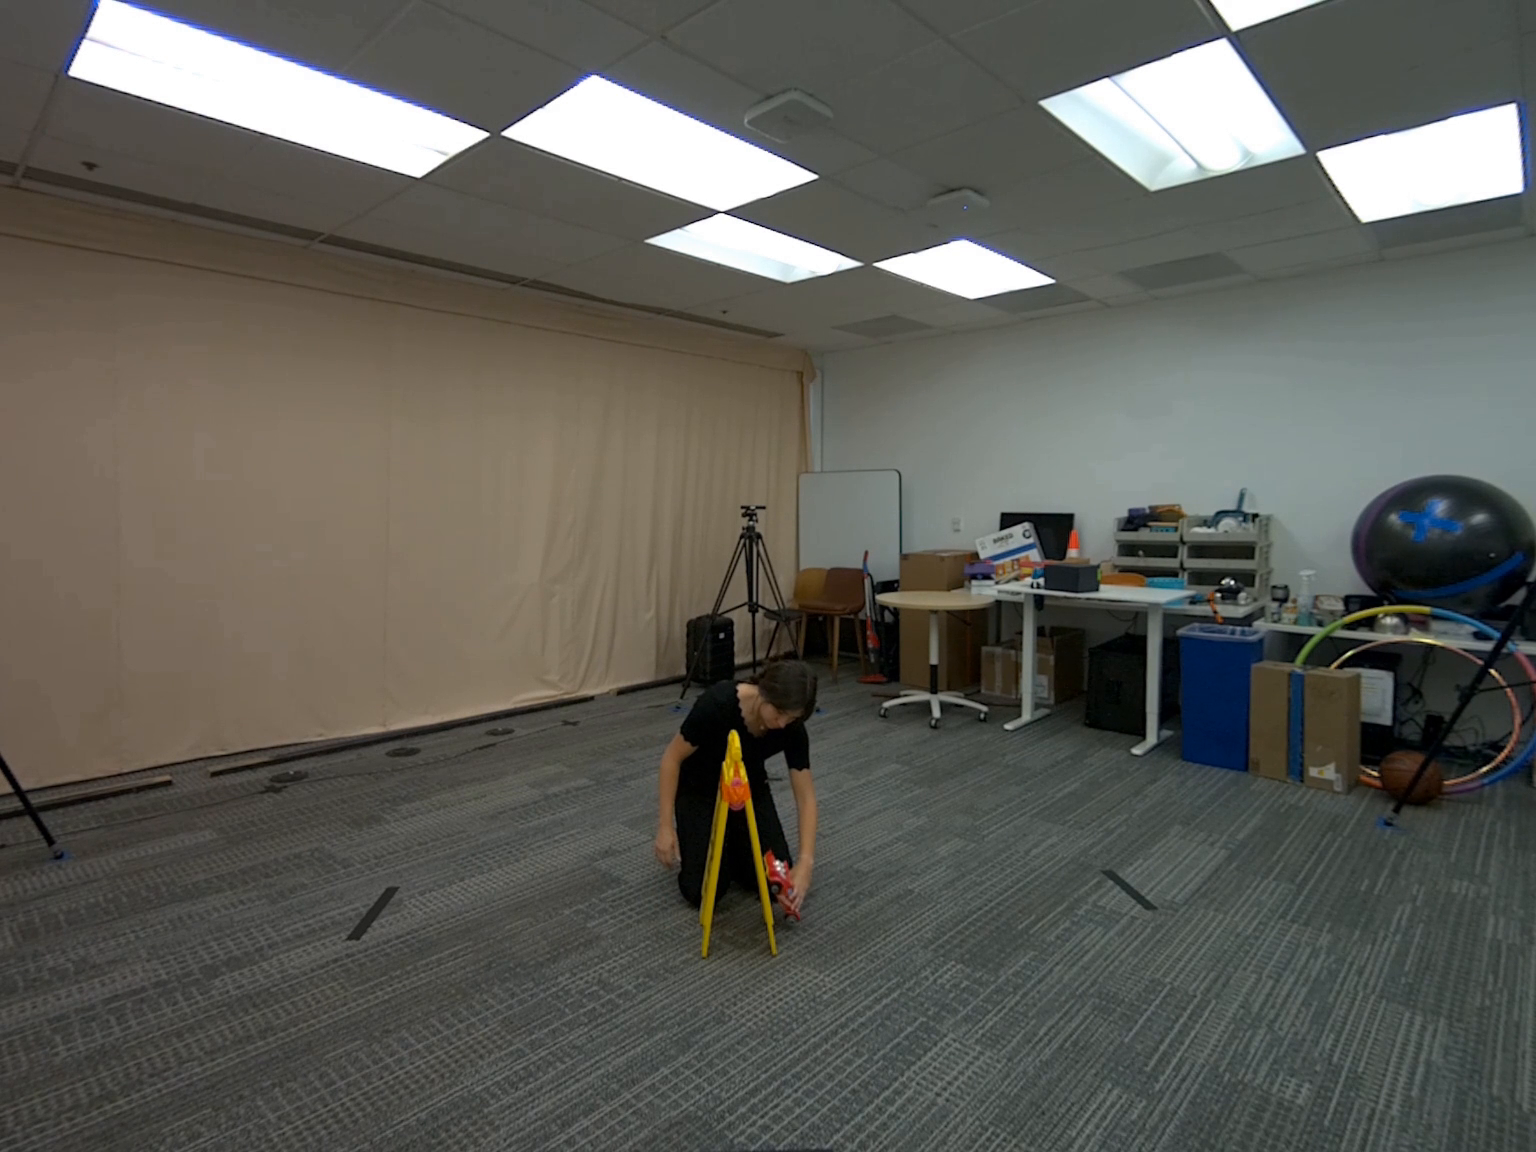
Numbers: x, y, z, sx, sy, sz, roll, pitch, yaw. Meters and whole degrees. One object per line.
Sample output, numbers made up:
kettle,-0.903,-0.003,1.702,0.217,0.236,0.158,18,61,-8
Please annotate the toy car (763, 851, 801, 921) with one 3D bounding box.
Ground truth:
toy car,0.046,1.024,2.750,0.083,0.251,0.132,-13,16,-5
